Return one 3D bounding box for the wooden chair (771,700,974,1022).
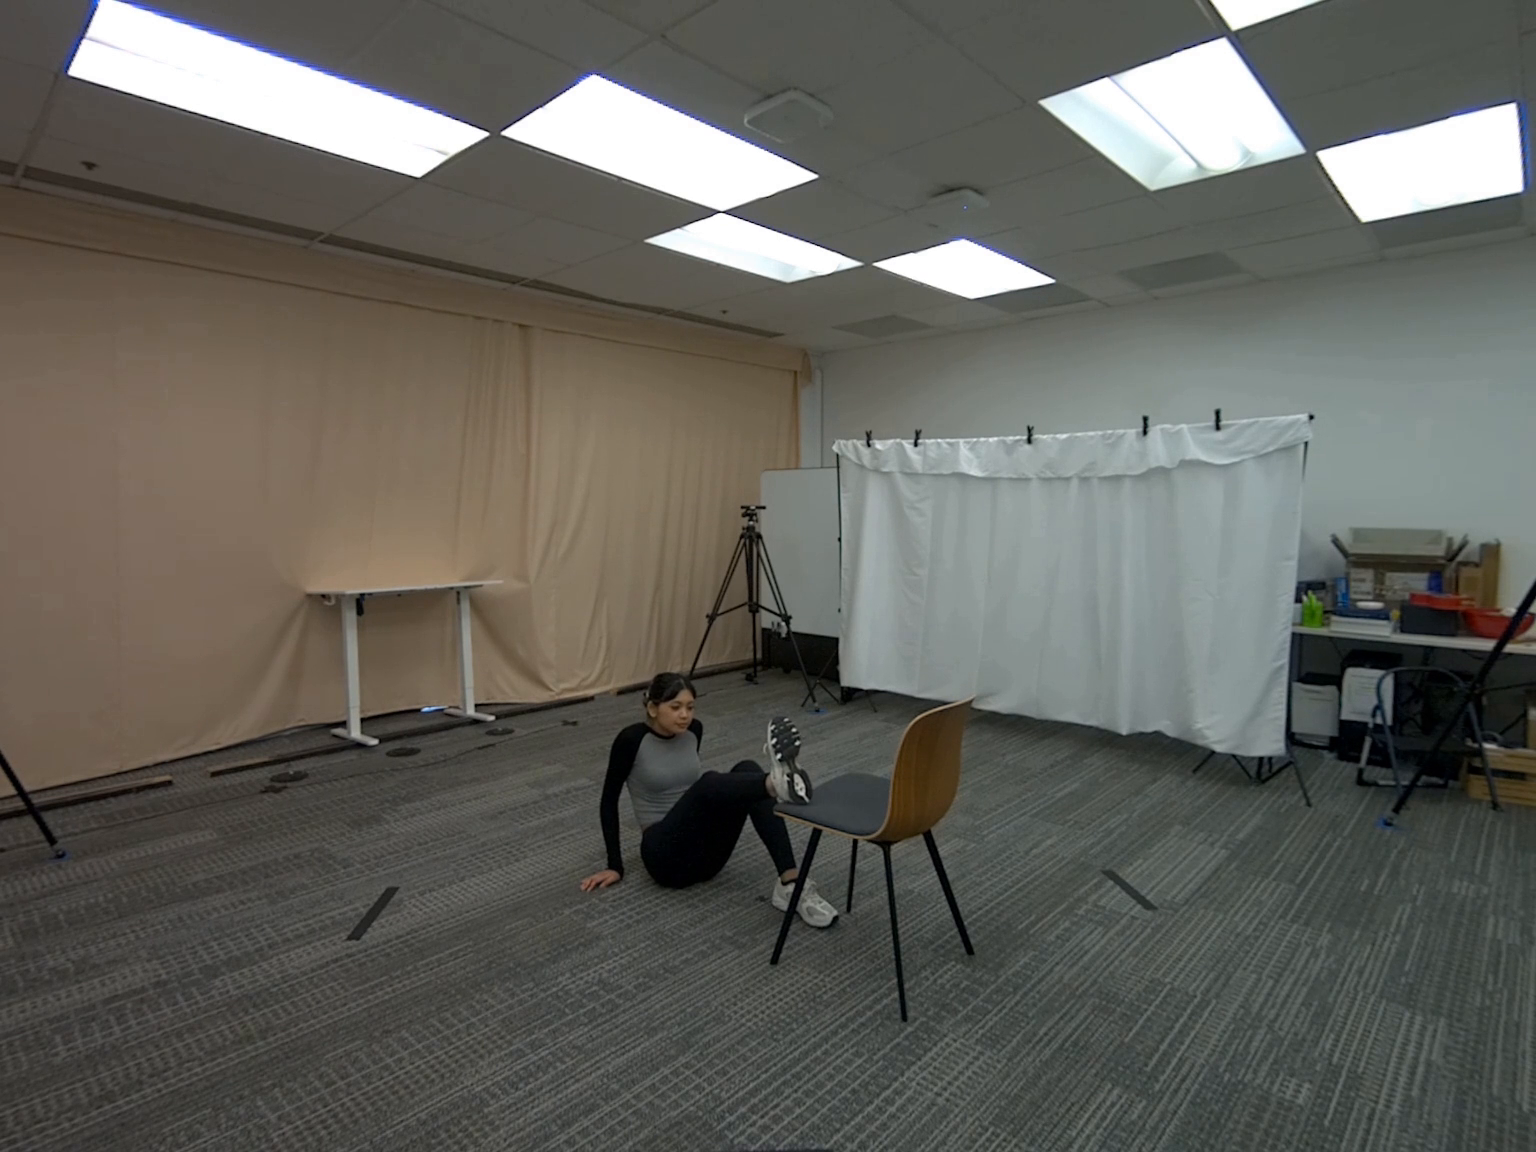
[{"bbox_3d":[0.320,0.750,2.558,0.541,0.874,0.464,8,8,38],"label":"wooden chair"}]
